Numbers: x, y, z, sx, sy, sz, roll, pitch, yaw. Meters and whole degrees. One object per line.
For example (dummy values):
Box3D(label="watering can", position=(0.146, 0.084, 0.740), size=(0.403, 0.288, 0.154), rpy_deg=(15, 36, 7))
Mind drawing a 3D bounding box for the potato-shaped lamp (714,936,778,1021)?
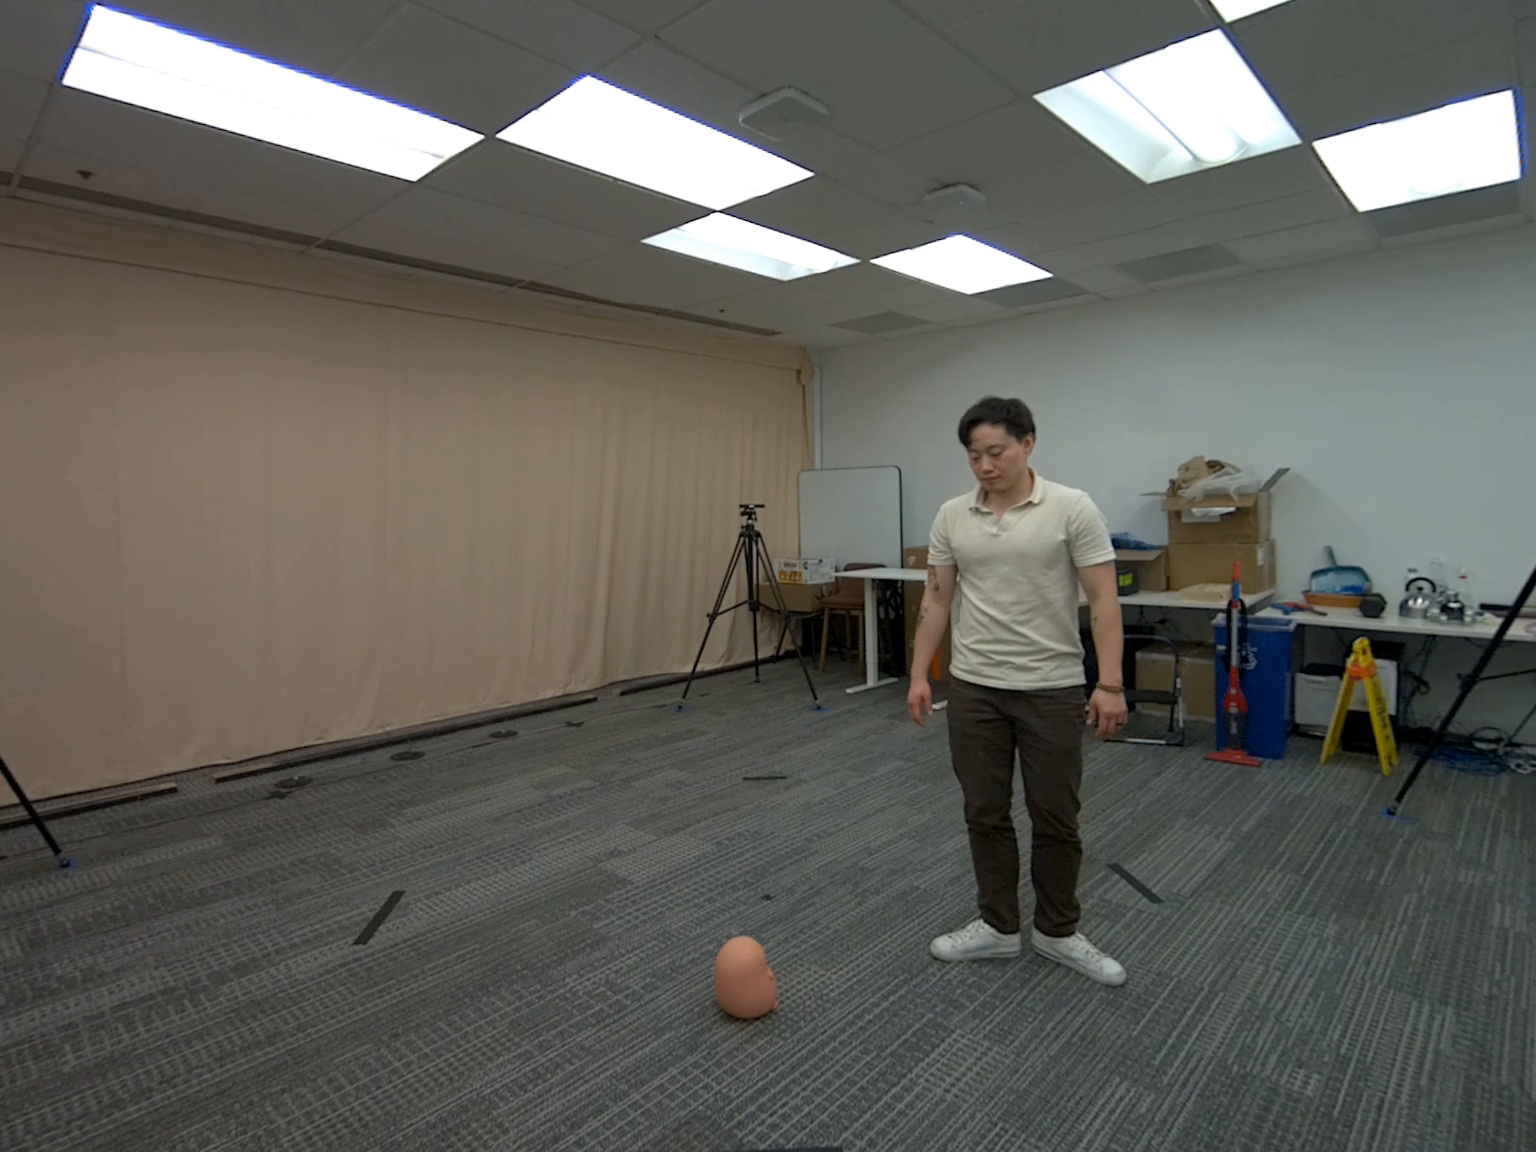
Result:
Box3D(label="potato-shaped lamp", position=(-0.058, 1.103, 2.320), size=(0.167, 0.197, 0.169), rpy_deg=(-2, 4, -25))
